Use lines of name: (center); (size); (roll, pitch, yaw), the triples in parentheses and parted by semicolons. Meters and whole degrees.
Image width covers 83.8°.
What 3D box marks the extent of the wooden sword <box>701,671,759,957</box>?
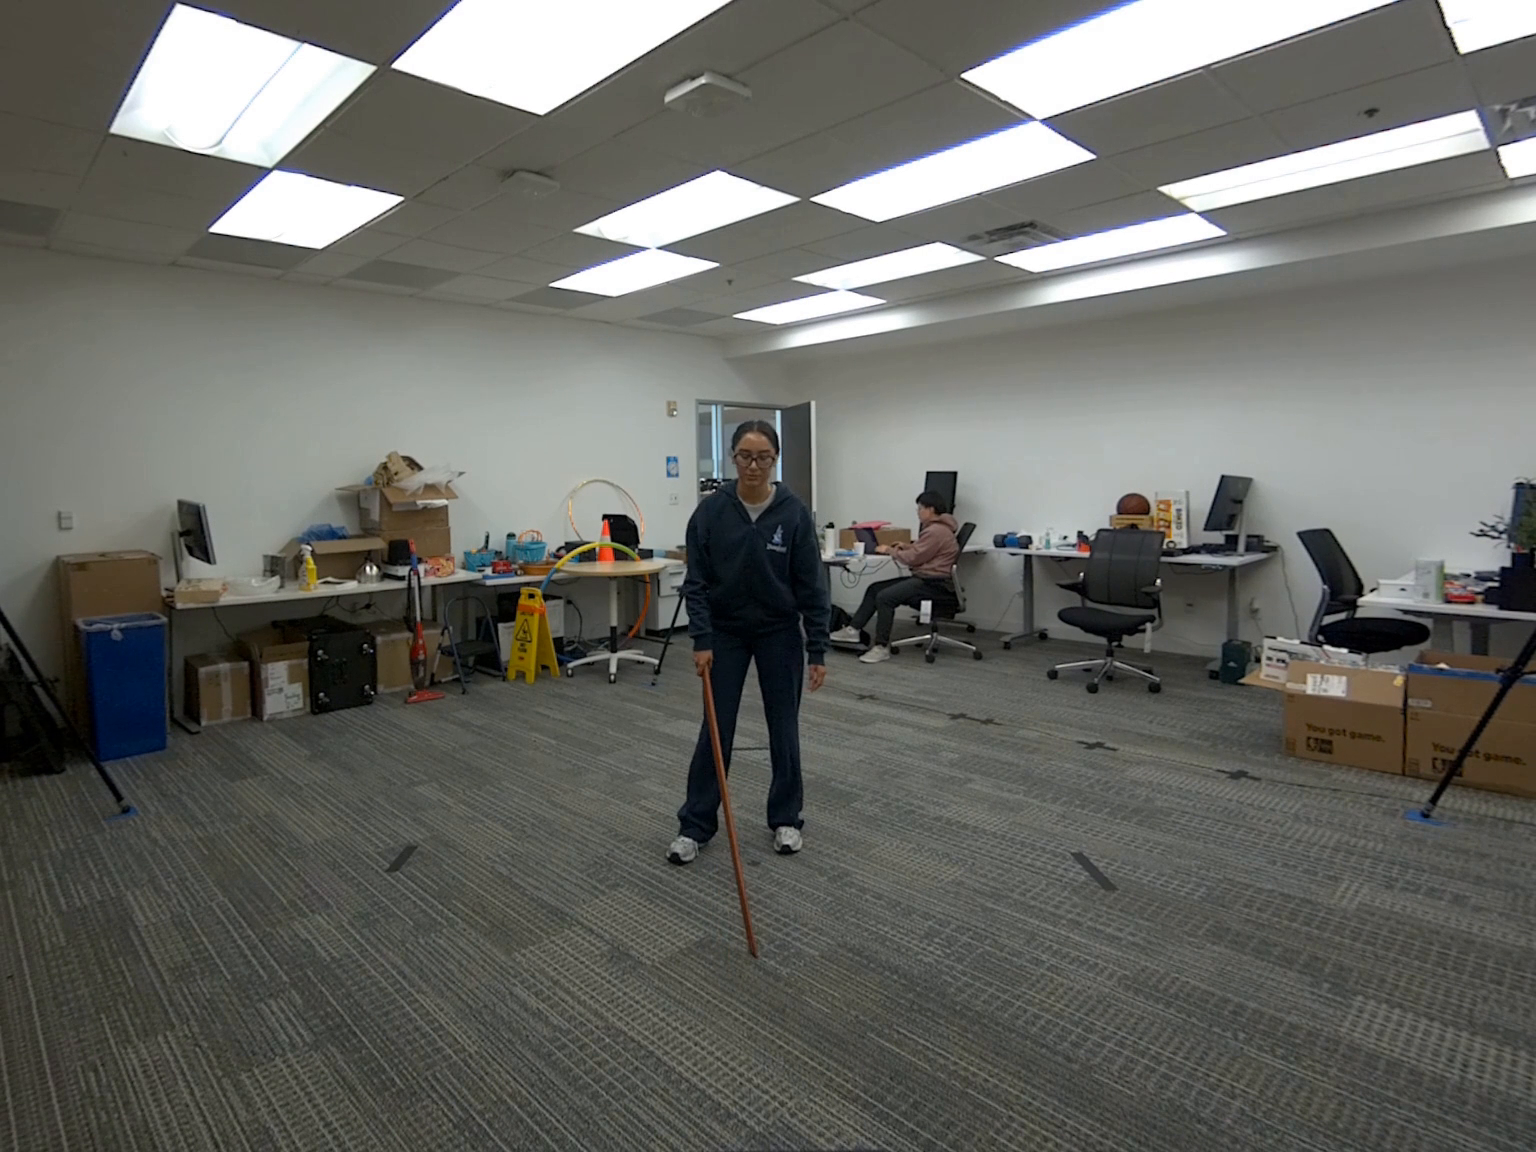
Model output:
wooden sword: (-0.146, 0.701, 2.810); (0.049, 1.057, 0.024); (21, -48, -41)
